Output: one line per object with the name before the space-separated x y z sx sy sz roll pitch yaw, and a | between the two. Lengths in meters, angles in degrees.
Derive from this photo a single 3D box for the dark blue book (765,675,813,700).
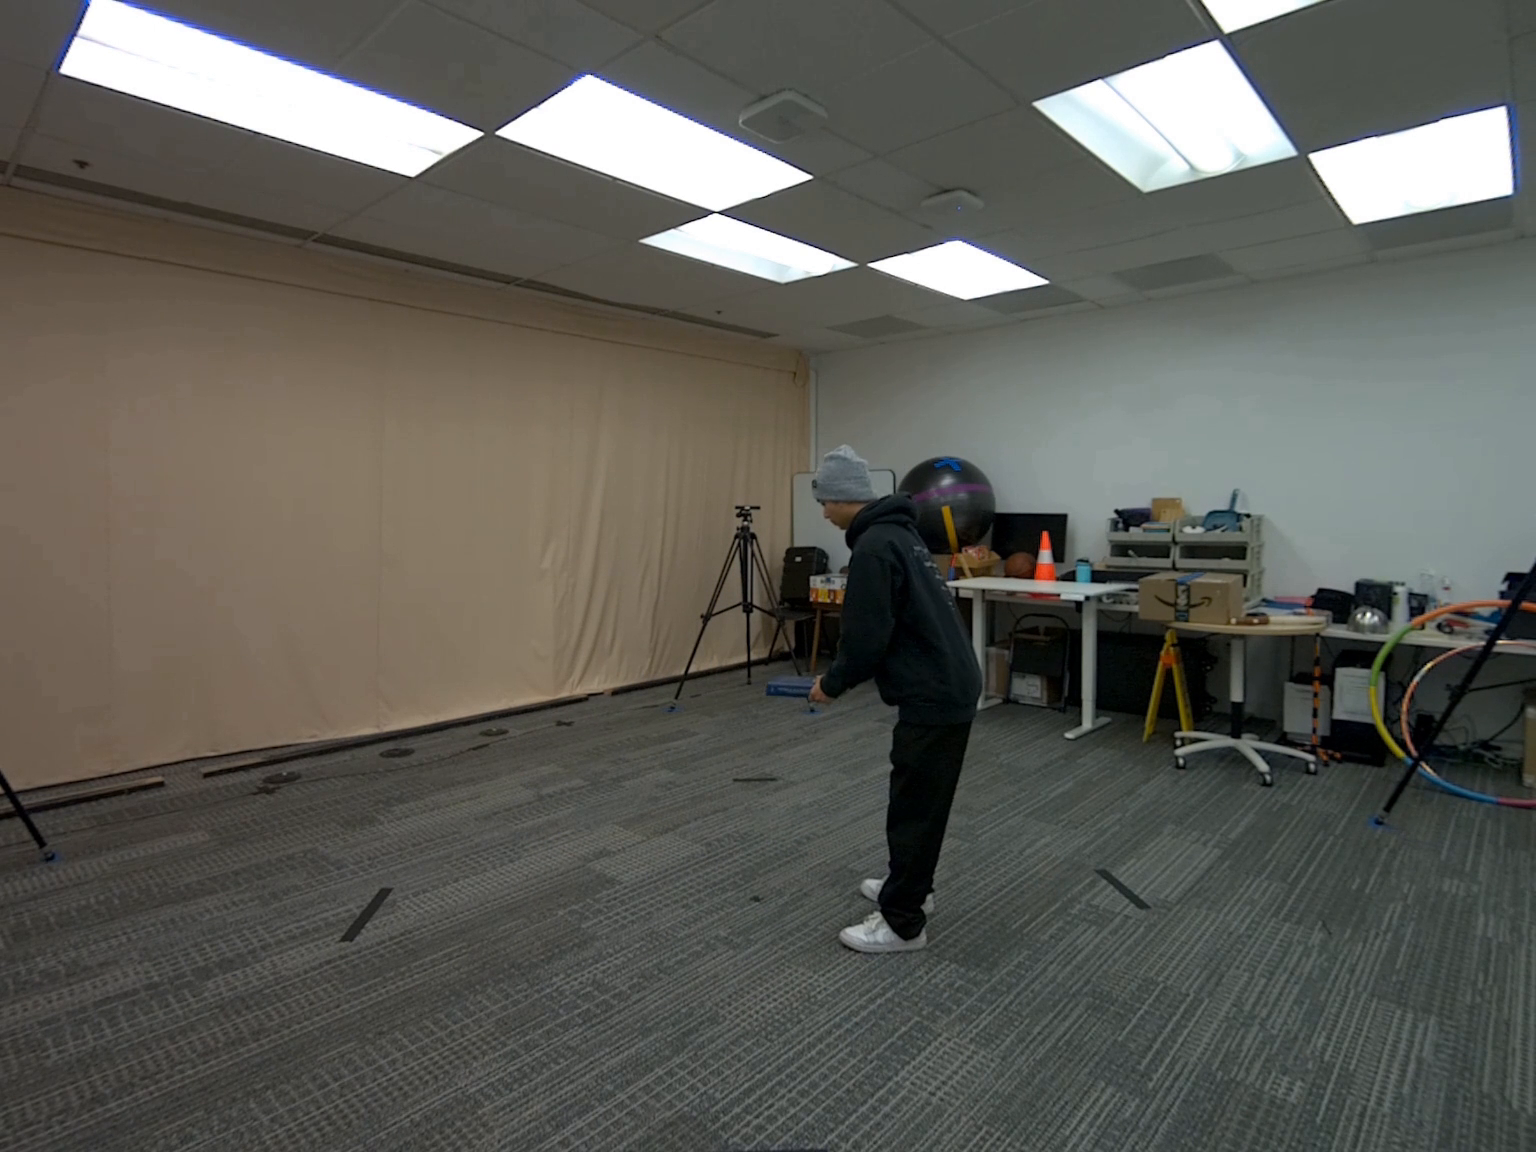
dark blue book | 0.137 0.391 2.912 0.249 0.045 0.161 1 4 15
